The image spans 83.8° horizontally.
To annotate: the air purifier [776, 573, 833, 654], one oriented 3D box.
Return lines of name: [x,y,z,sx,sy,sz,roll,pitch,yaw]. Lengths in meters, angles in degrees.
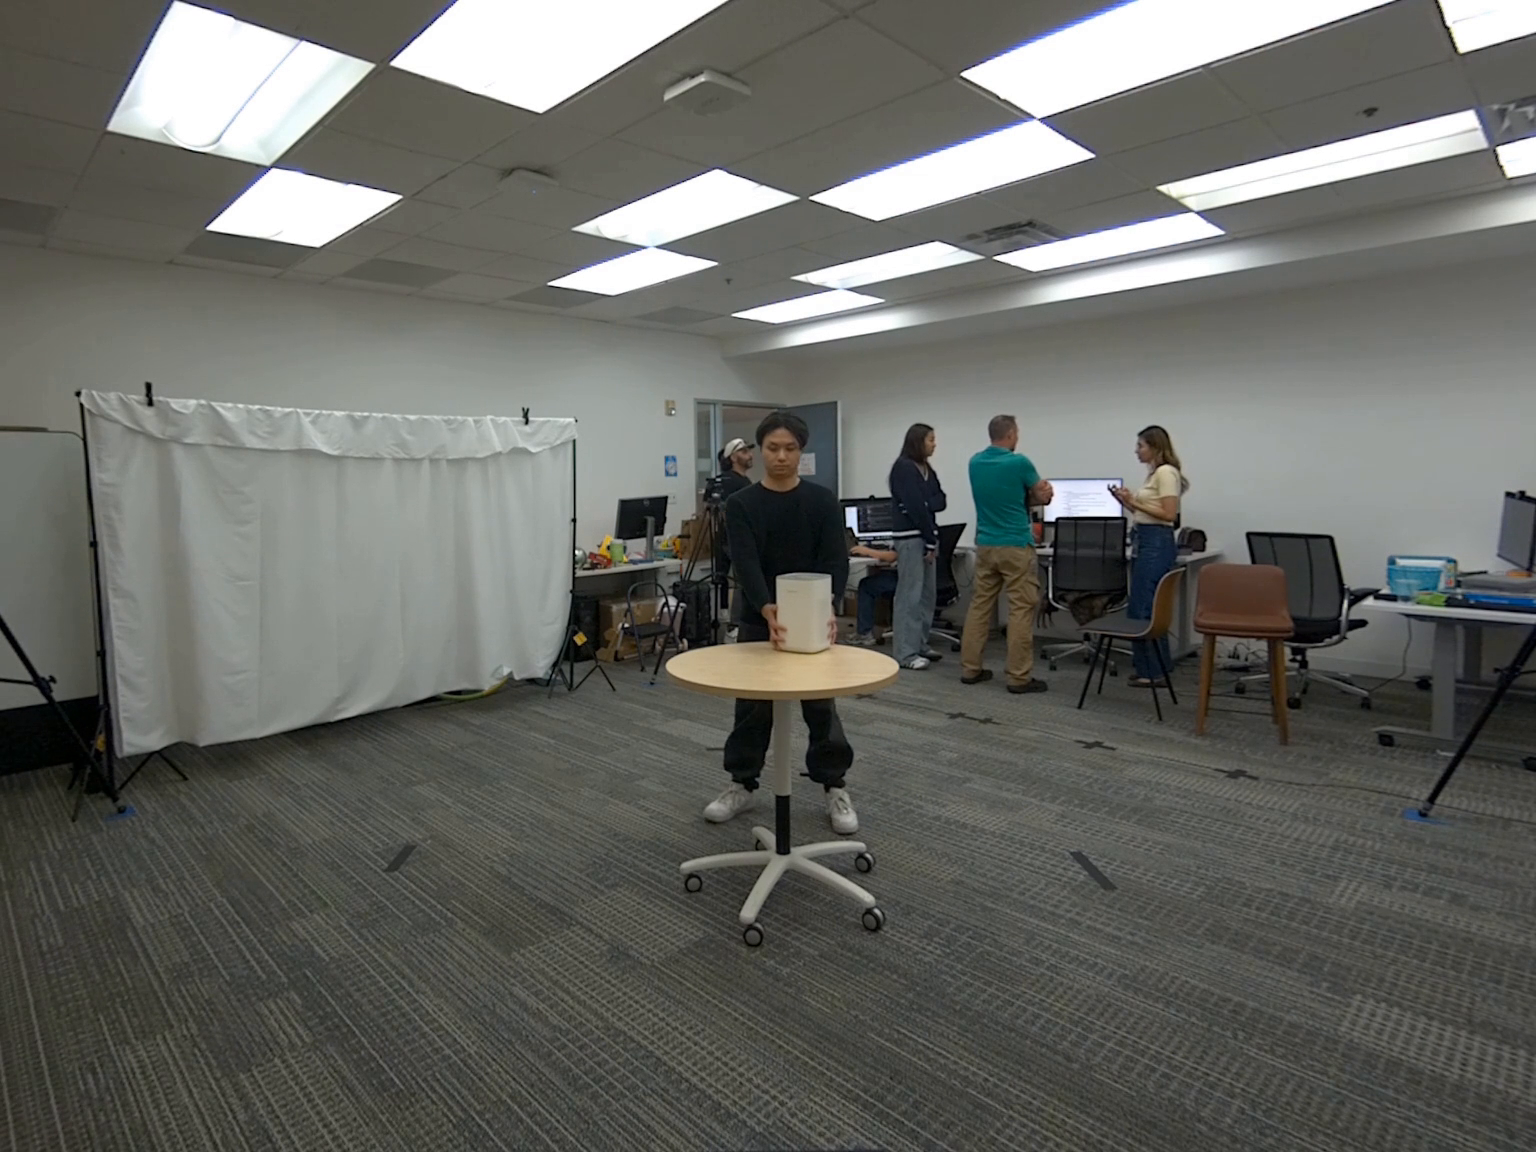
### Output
air purifier: [0.127,0.131,3.052,0.175,0.264,0.168,2,5,28]
